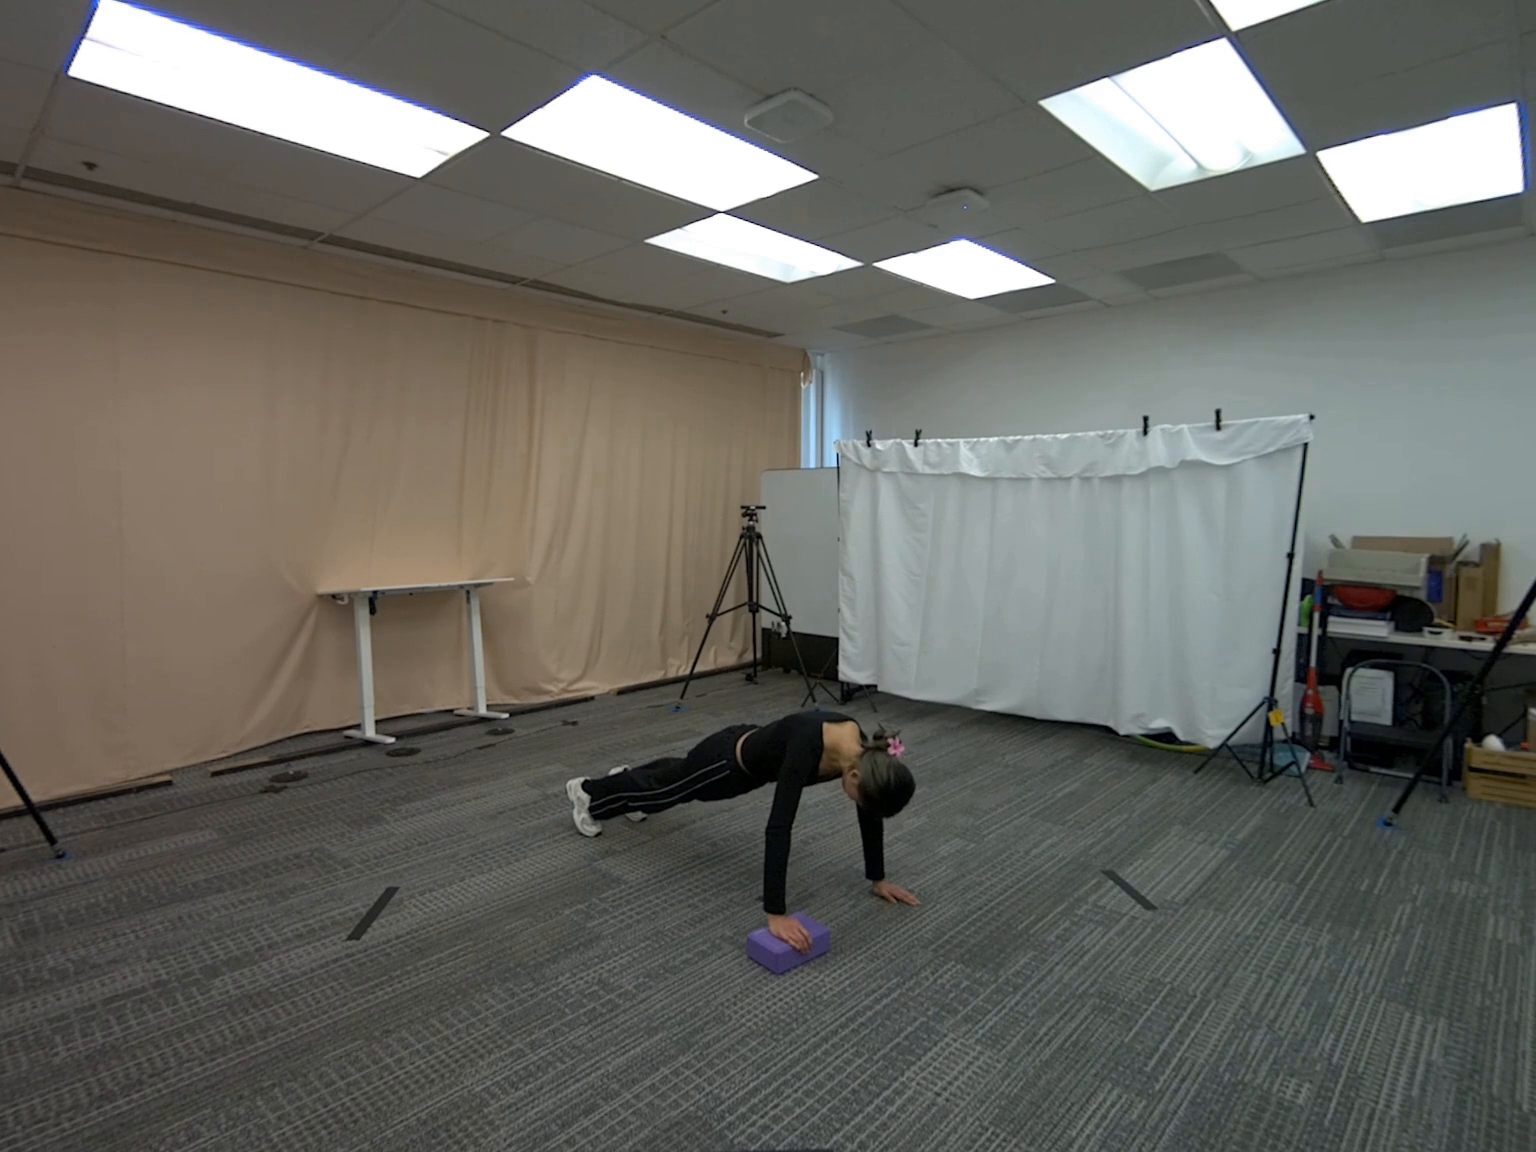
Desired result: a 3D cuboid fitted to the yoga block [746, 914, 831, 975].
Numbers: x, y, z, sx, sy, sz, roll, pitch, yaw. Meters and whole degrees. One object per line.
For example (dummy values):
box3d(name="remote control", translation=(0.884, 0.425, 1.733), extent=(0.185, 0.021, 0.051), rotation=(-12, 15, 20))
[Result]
box3d(name="yoga block", translation=(0.069, 1.139, 2.615), extent=(0.222, 0.076, 0.154), rotation=(-6, 7, -39))
